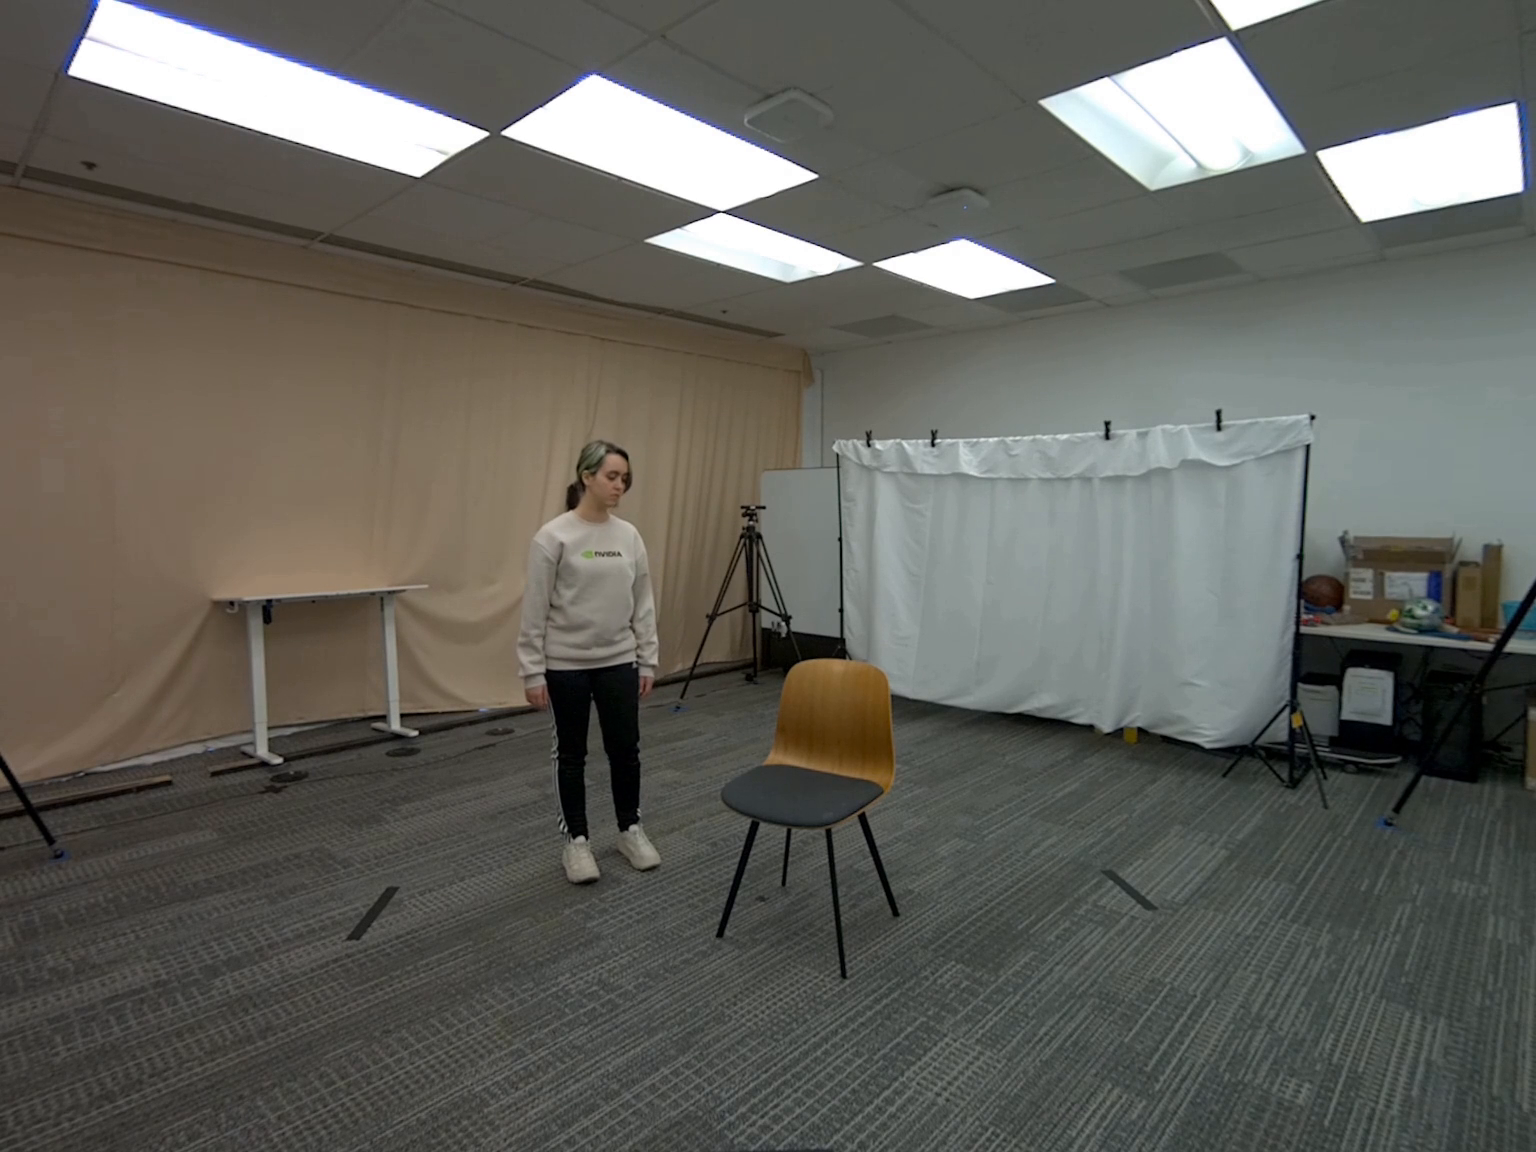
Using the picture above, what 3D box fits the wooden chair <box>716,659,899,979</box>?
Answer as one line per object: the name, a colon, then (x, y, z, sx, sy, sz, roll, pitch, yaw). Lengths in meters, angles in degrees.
wooden chair: (0.139, 0.735, 2.747, 0.492, 0.877, 0.508, 2, 0, 31)
